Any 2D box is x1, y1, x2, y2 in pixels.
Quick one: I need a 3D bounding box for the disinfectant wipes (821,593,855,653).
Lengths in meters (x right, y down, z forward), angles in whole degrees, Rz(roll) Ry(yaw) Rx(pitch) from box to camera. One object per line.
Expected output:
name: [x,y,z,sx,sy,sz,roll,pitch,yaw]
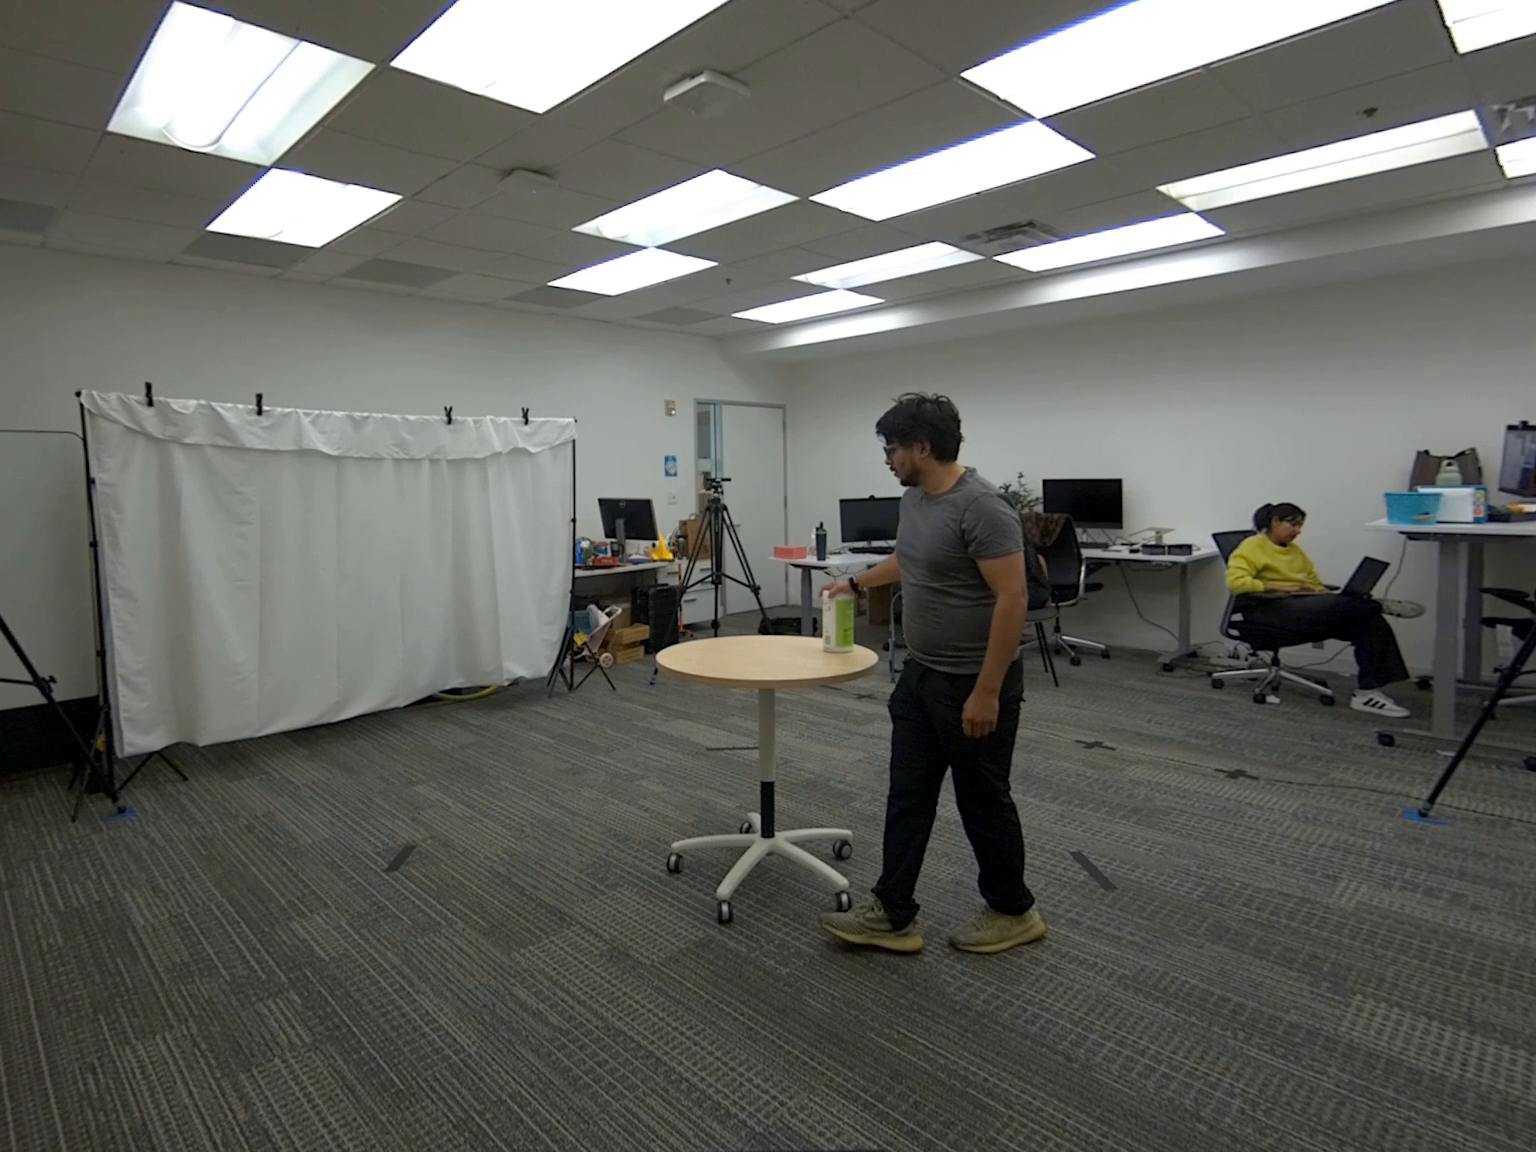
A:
disinfectant wipes: [0.248,0.161,3.032,0.117,0.217,0.118,3,4,-2]
